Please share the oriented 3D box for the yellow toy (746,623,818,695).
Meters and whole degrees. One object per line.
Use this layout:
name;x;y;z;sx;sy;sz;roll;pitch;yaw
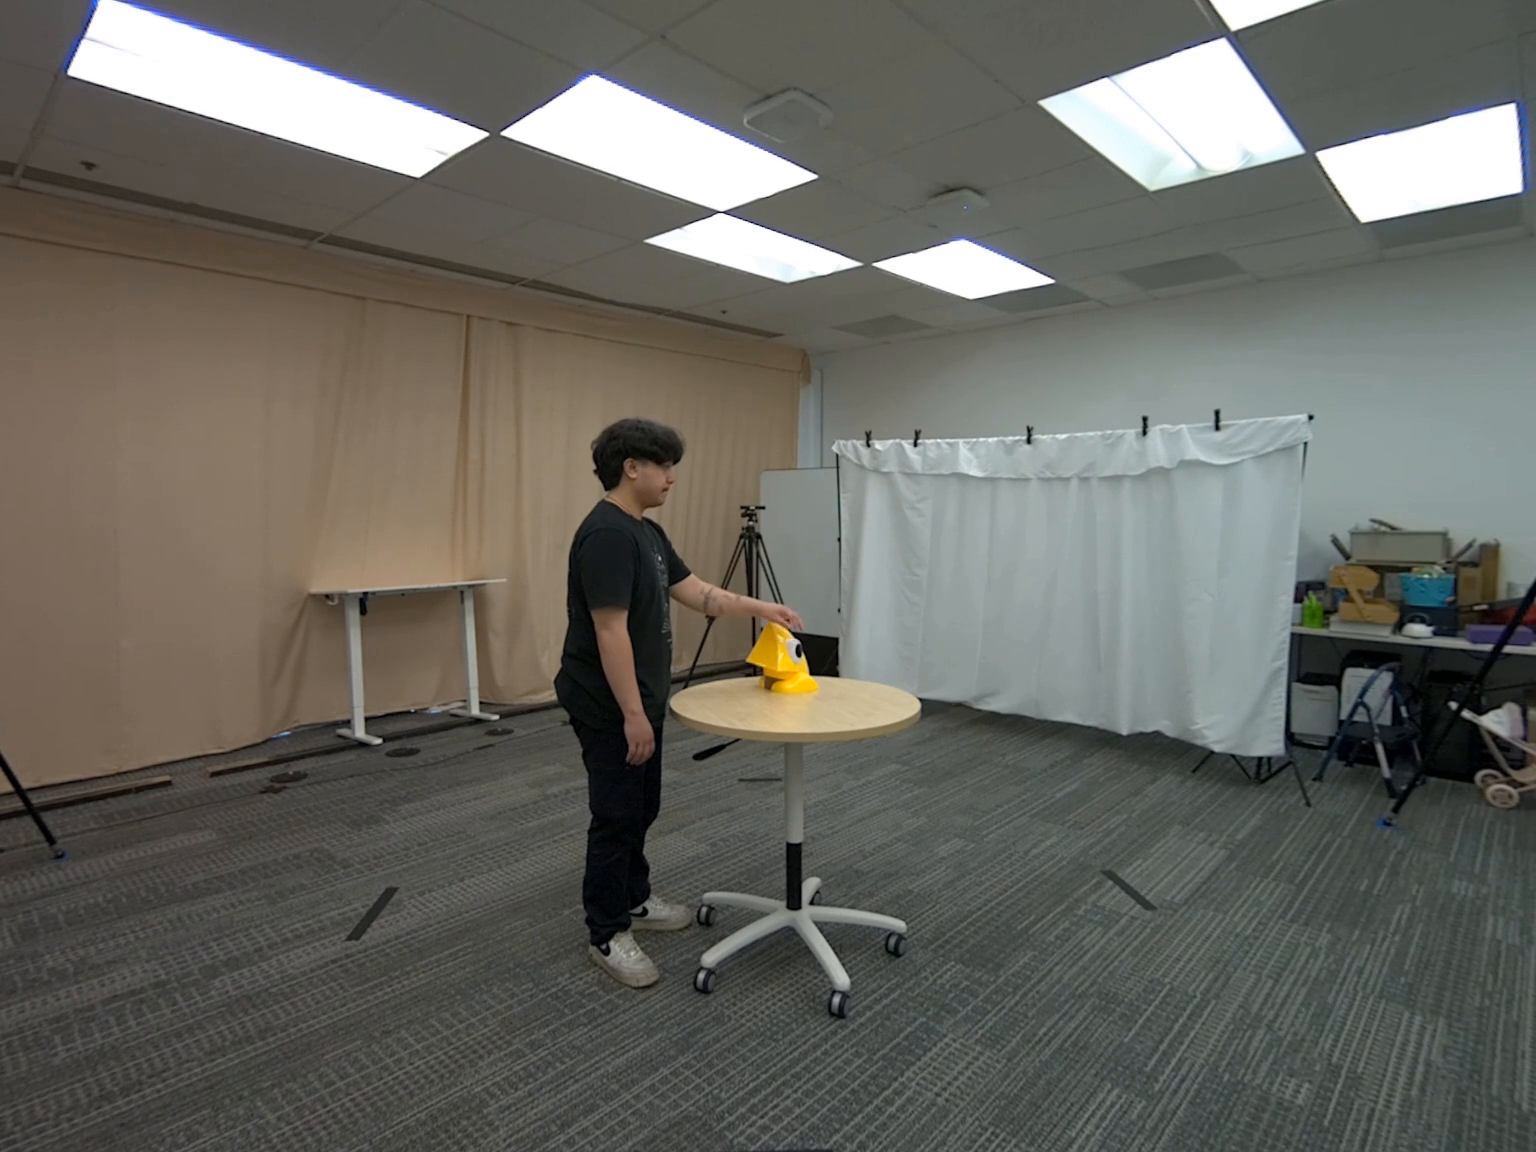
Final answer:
yellow toy;0.058;0.255;2.780;0.188;0.230;0.210;-1;3;-29
